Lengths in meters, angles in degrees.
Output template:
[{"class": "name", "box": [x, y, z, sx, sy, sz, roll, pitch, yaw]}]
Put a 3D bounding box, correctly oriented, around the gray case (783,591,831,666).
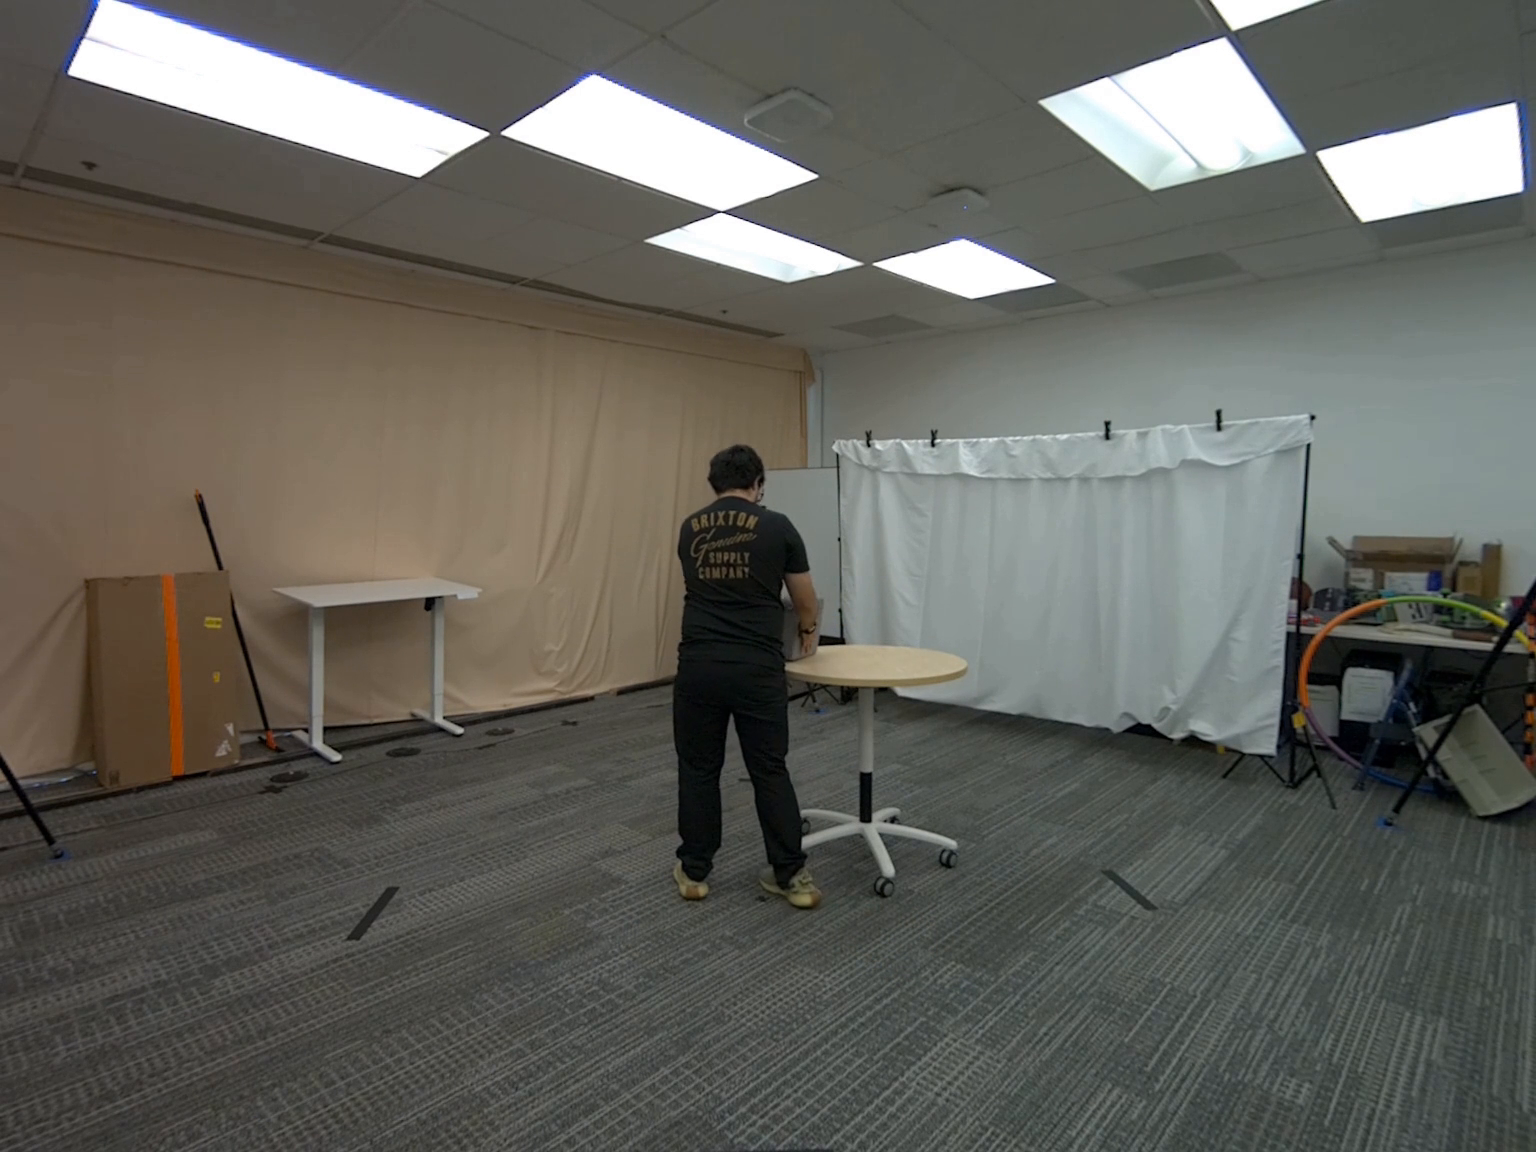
[{"class": "gray case", "box": [0.138, 0.199, 3.389, 0.107, 0.260, 0.251, 13, 8, 22]}]
